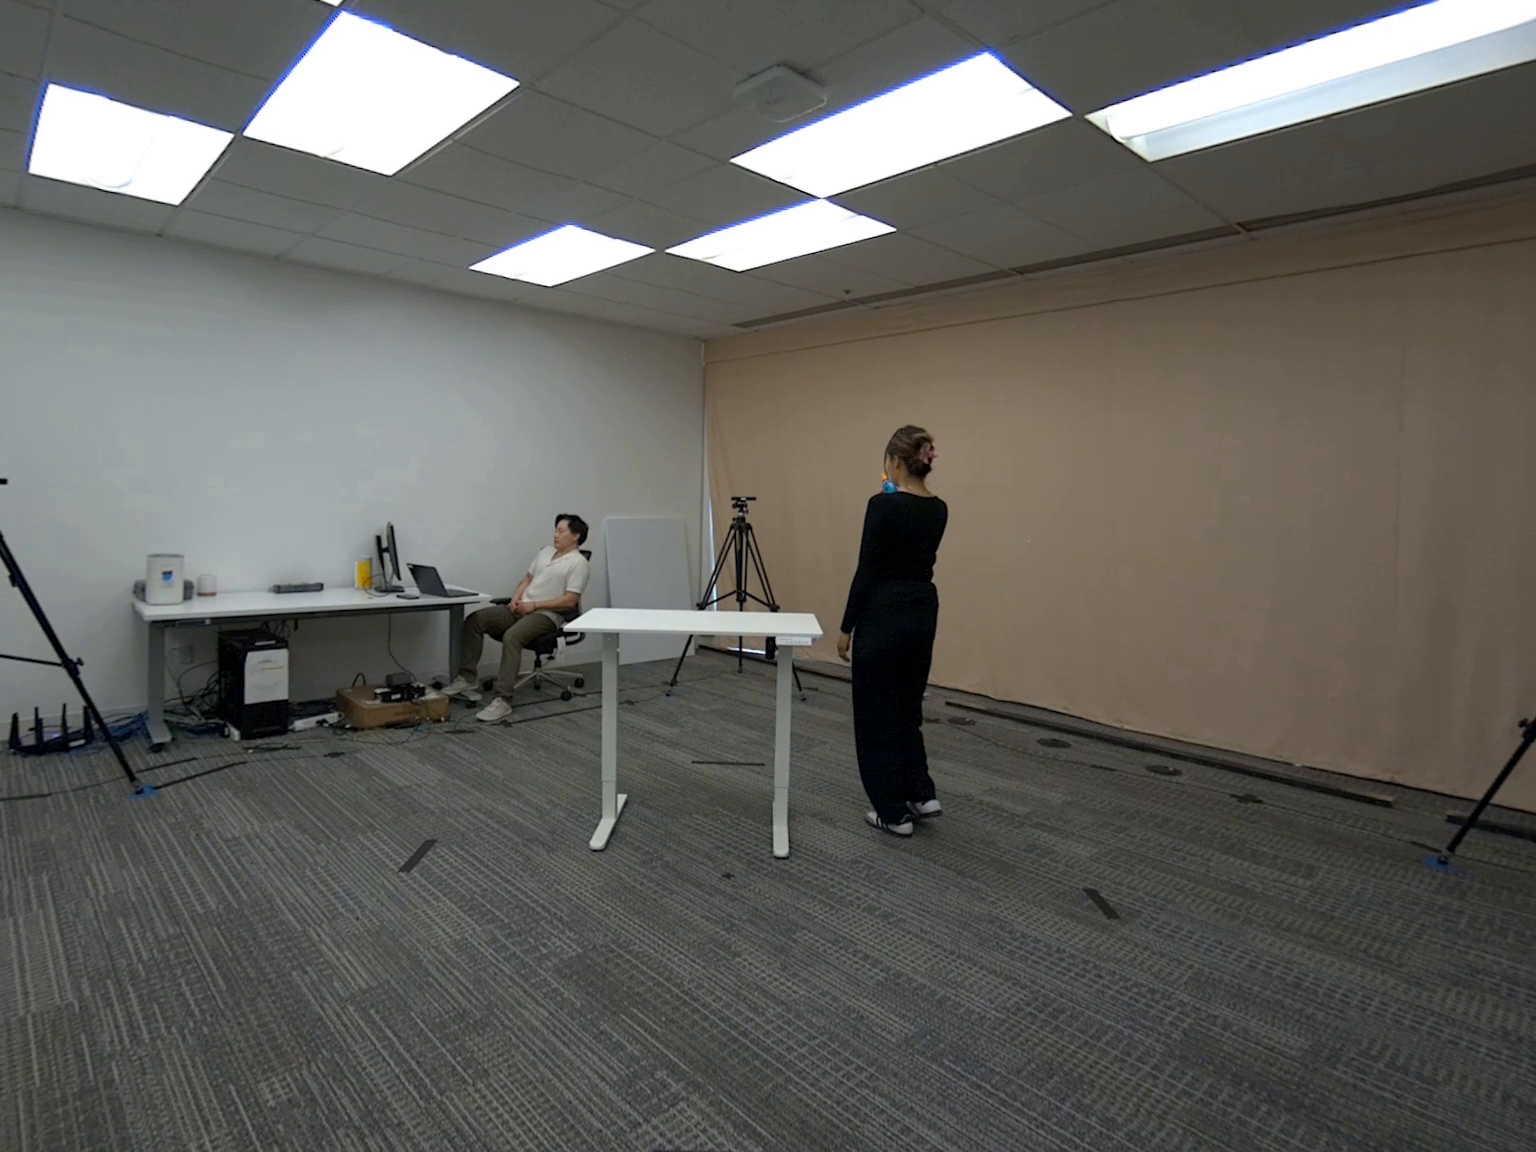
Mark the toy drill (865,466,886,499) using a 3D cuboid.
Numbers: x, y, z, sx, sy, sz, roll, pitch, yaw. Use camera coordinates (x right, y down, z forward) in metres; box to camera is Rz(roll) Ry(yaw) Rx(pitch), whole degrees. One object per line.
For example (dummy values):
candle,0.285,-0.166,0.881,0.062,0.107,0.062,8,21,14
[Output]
toy drill,0.547,-0.401,3.966,0.060,0.174,0.145,10,-46,-33
